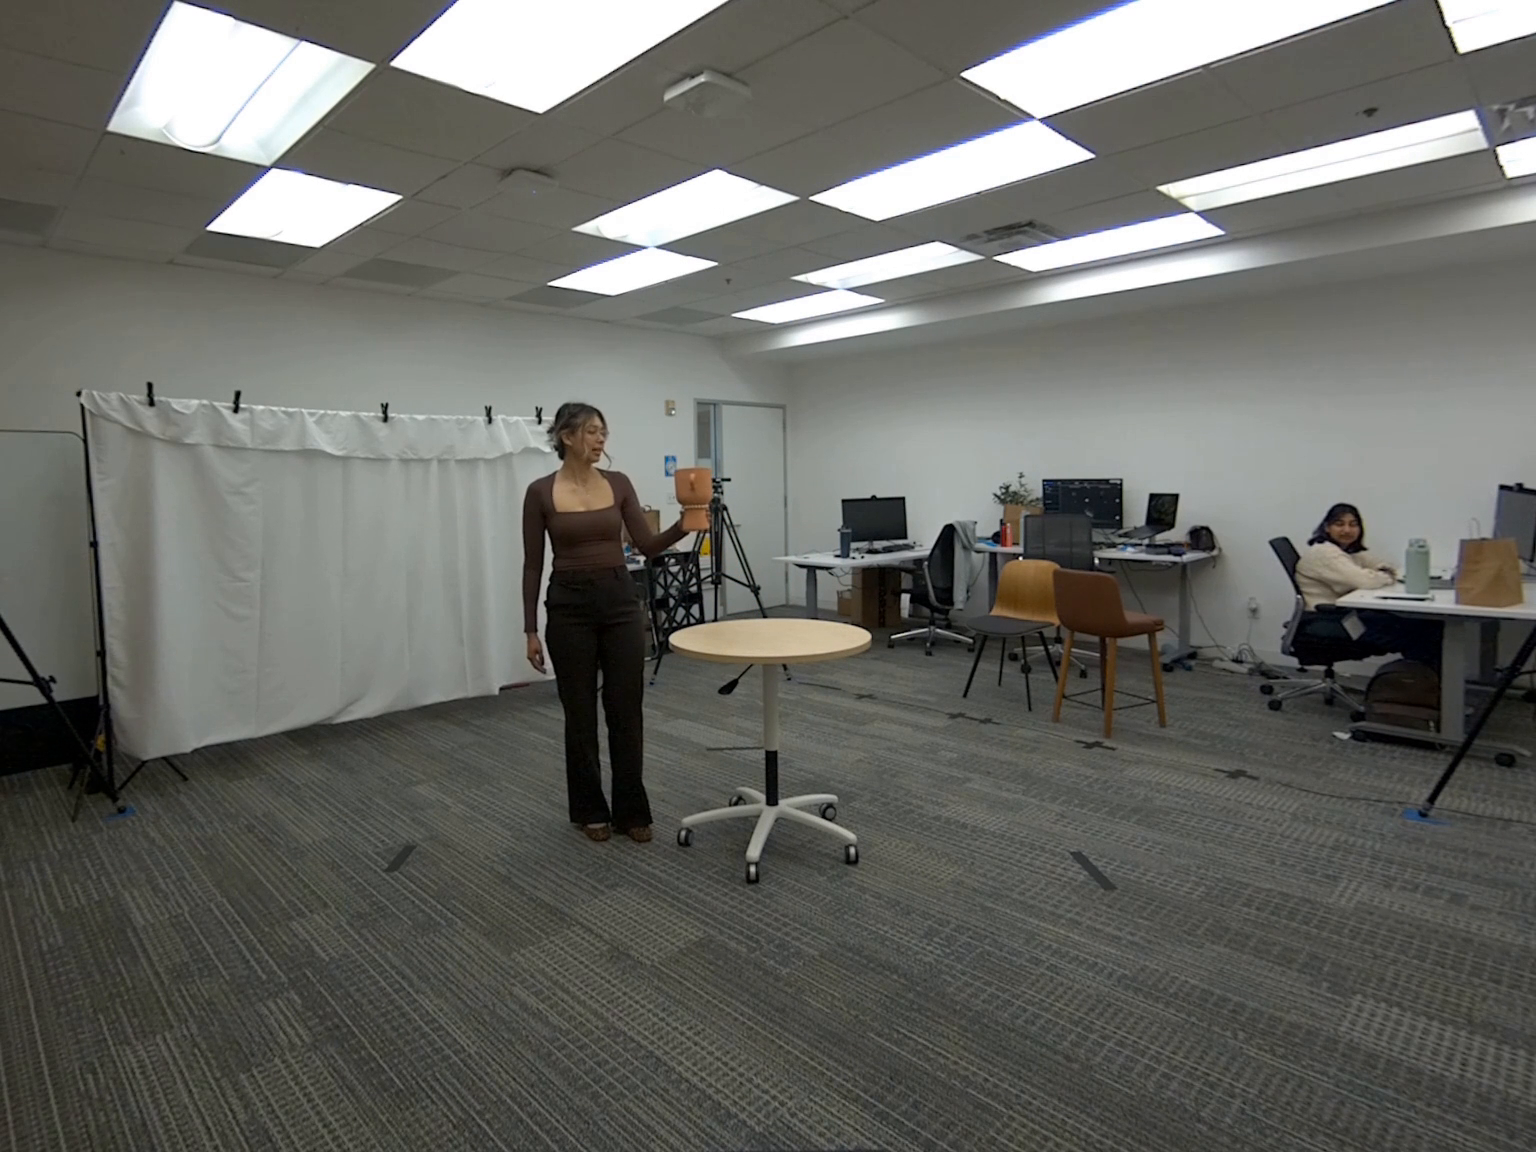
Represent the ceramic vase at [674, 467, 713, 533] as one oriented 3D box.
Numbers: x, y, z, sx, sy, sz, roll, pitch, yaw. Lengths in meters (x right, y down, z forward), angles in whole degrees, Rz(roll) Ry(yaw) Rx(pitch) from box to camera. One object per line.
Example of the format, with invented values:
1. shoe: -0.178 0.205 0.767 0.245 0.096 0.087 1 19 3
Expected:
1. ceramic vase: -0.265 -0.277 3.085 0.139 0.219 0.155 3 6 40
